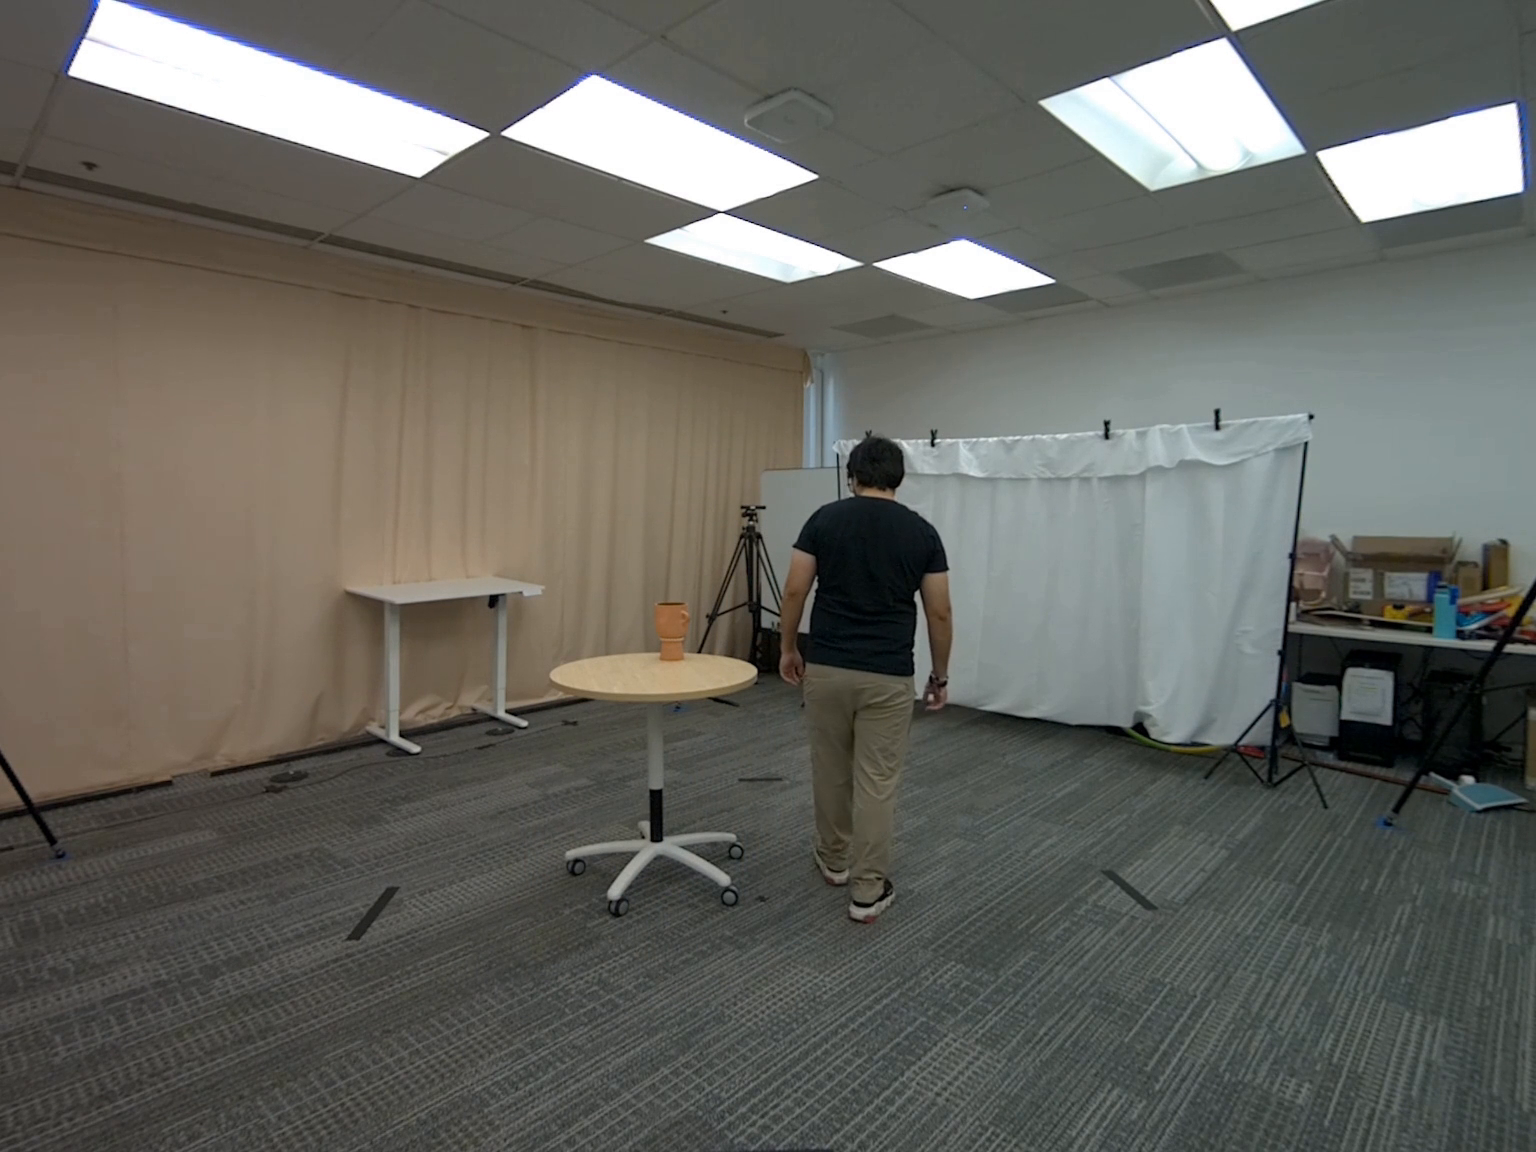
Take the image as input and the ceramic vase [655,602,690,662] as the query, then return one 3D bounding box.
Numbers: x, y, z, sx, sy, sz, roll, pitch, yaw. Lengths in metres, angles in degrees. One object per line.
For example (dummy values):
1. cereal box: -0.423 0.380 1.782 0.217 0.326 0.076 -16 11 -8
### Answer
1. ceramic vase: -0.386 0.224 3.368 0.133 0.219 0.161 -2 4 -11
